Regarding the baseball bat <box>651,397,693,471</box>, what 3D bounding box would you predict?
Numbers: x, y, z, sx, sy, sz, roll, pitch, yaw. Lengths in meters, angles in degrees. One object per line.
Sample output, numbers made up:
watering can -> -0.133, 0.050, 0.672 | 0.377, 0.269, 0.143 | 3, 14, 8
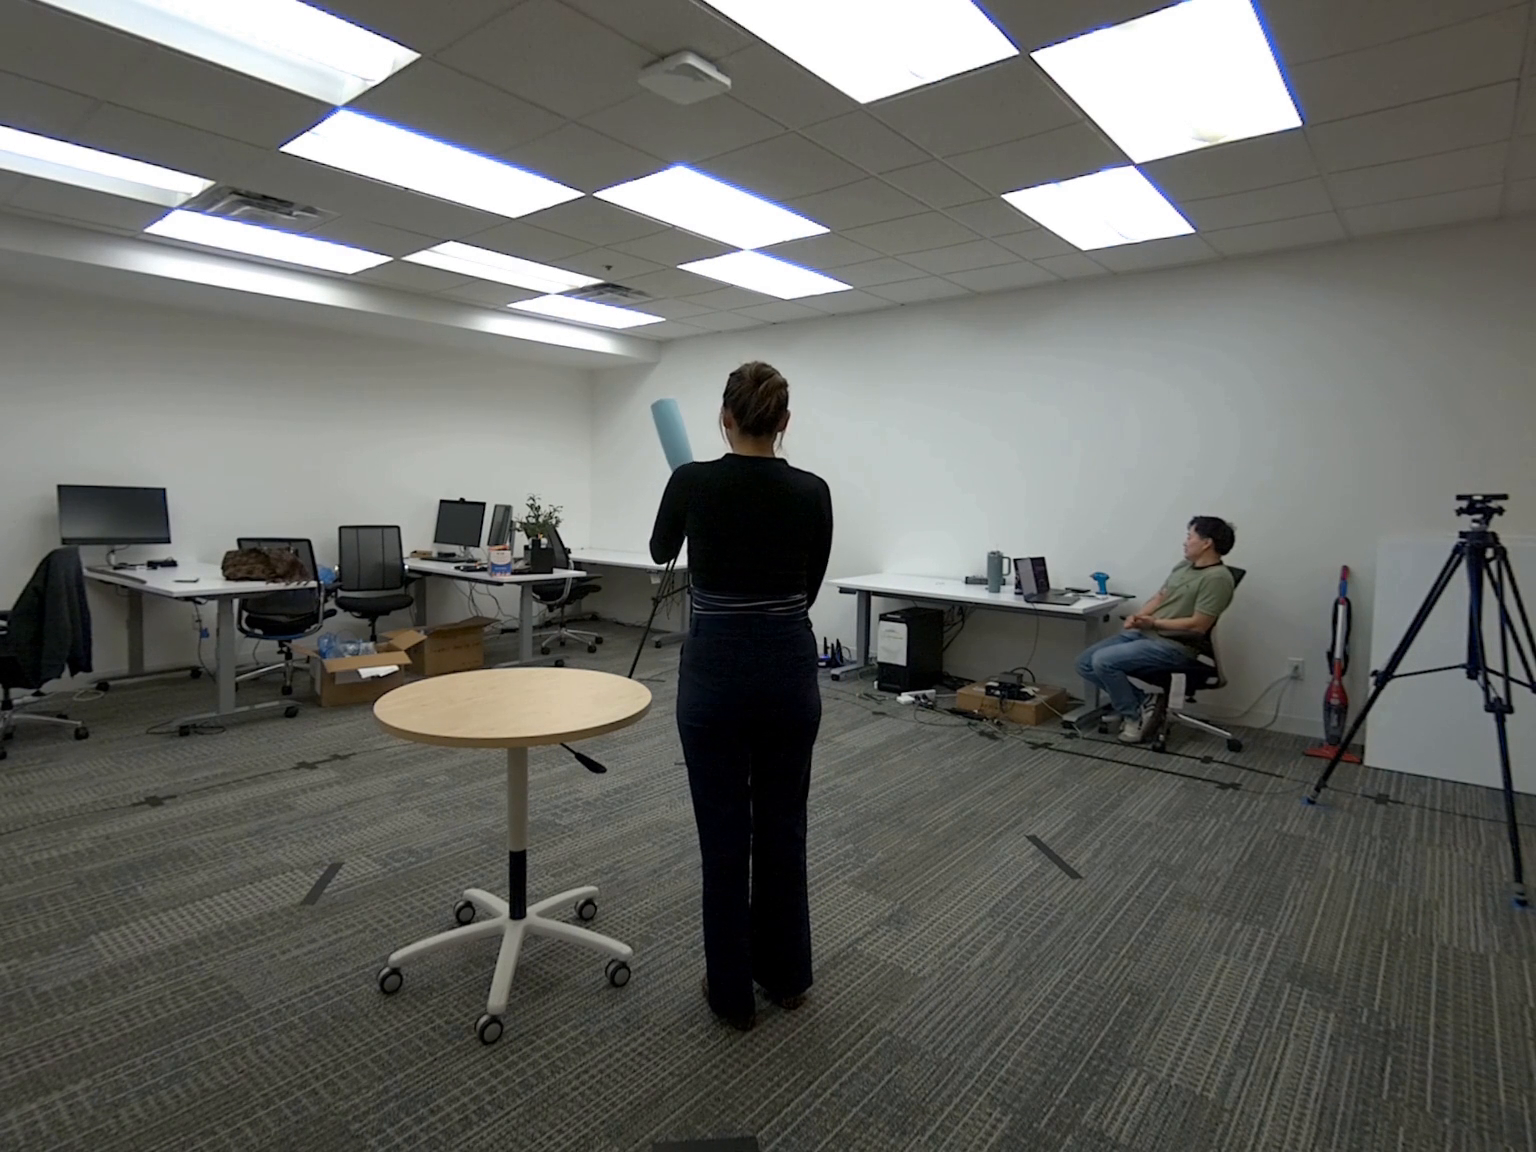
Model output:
baseball bat -> -0.273, -0.303, 2.704 | 0.089, 0.550, 0.088 | -15, -10, -4
